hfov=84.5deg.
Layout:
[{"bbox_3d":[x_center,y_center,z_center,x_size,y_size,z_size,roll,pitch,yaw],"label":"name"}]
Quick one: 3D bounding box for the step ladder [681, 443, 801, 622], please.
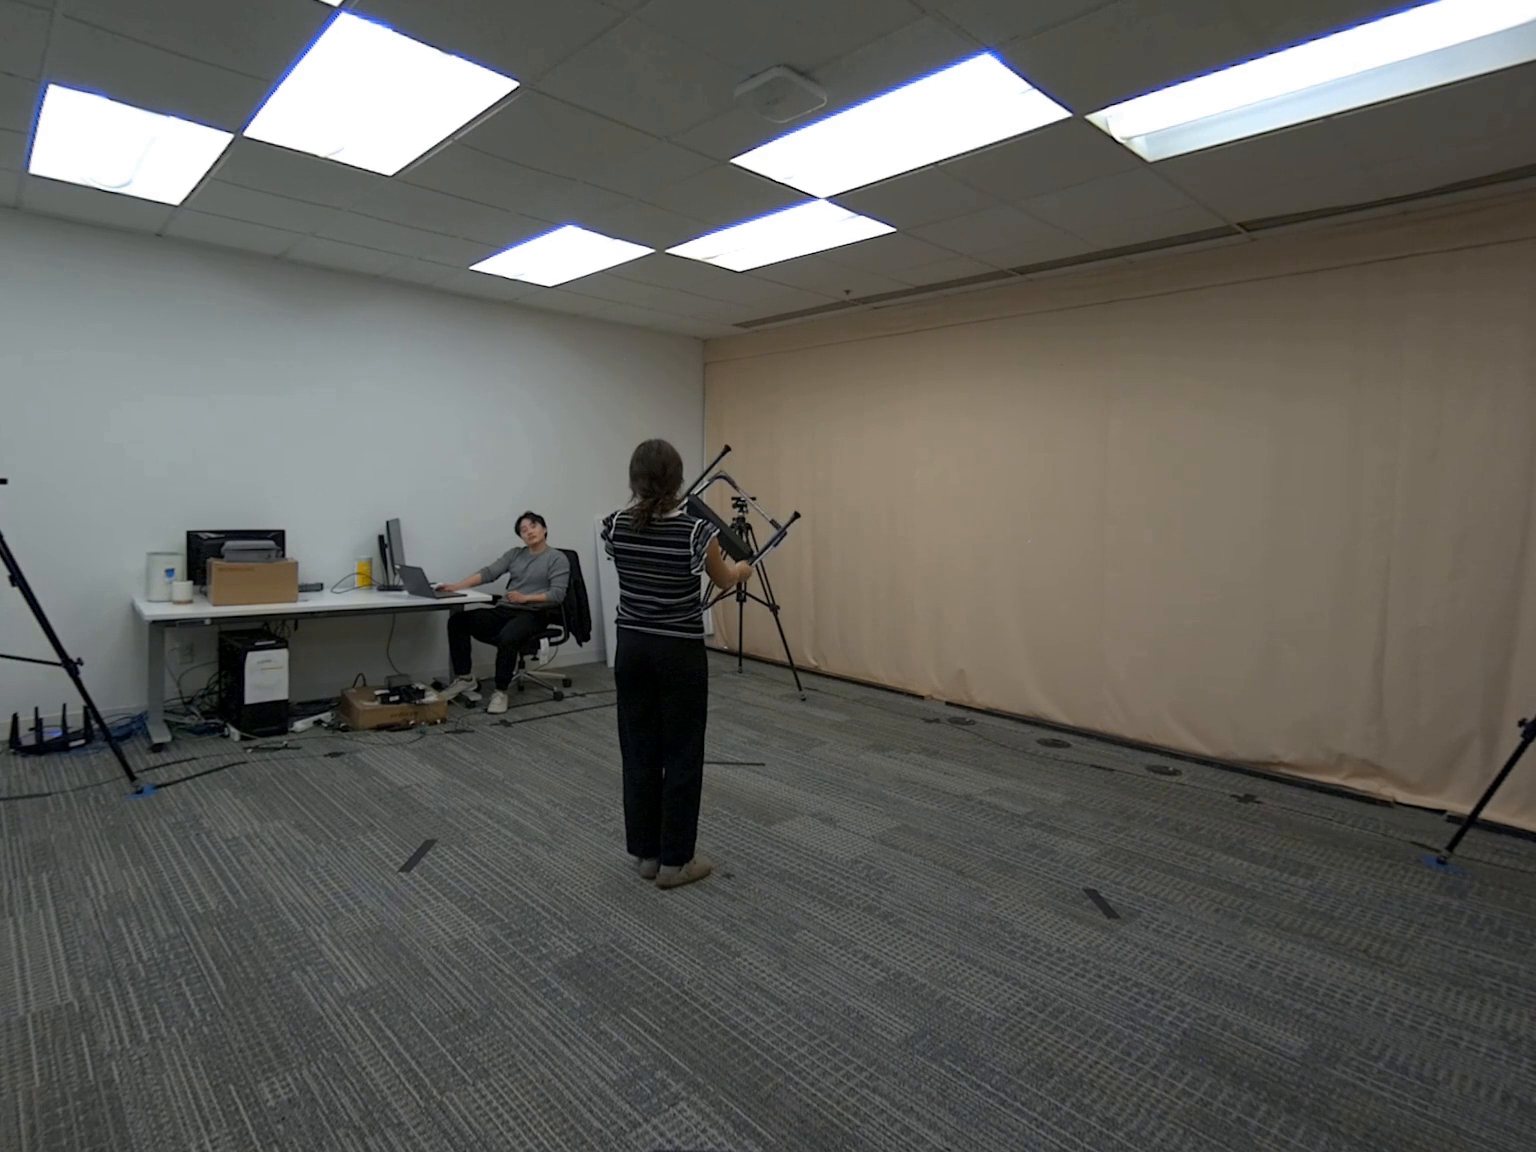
[{"bbox_3d":[-0.251,-0.149,3.520,0.434,0.605,0.347,44,-11,6],"label":"step ladder"}]
